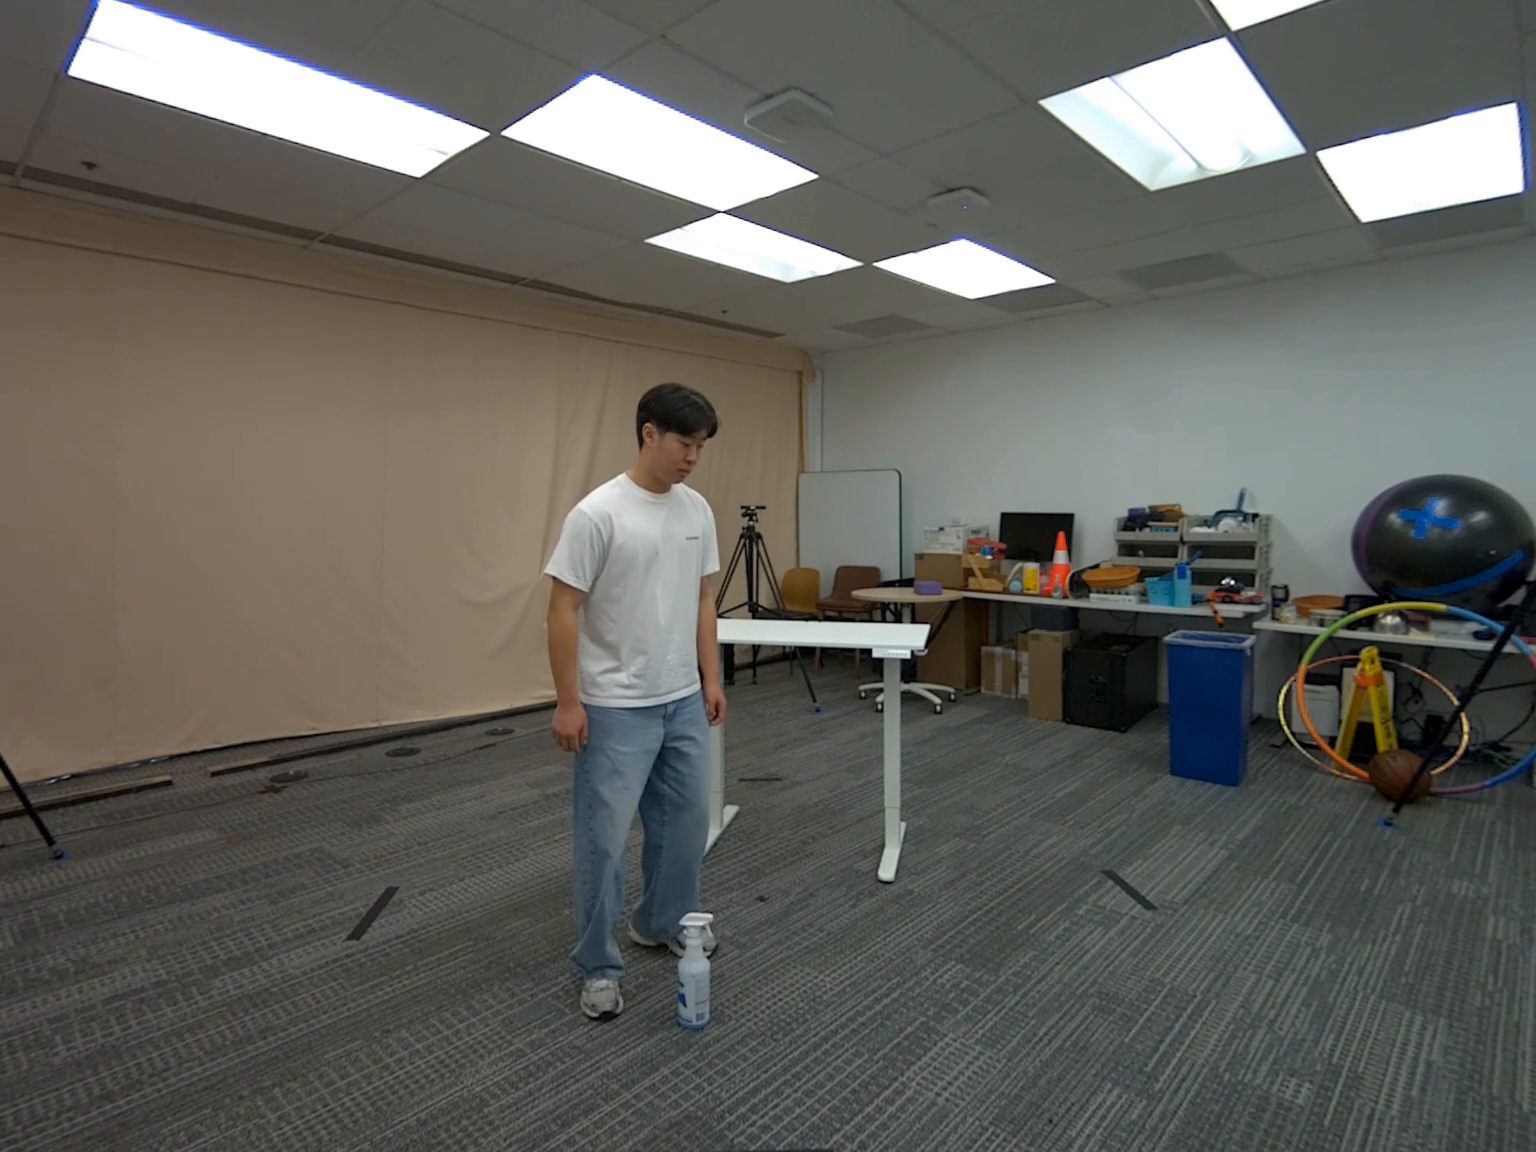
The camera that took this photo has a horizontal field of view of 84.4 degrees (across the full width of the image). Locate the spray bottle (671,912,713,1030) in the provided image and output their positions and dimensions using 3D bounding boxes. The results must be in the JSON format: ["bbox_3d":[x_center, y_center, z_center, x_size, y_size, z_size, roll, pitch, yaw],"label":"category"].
[{"bbox_3d":[-0.193,1.061,2.274,0.093,0.297,0.084,3,3,30],"label":"spray bottle"}]
